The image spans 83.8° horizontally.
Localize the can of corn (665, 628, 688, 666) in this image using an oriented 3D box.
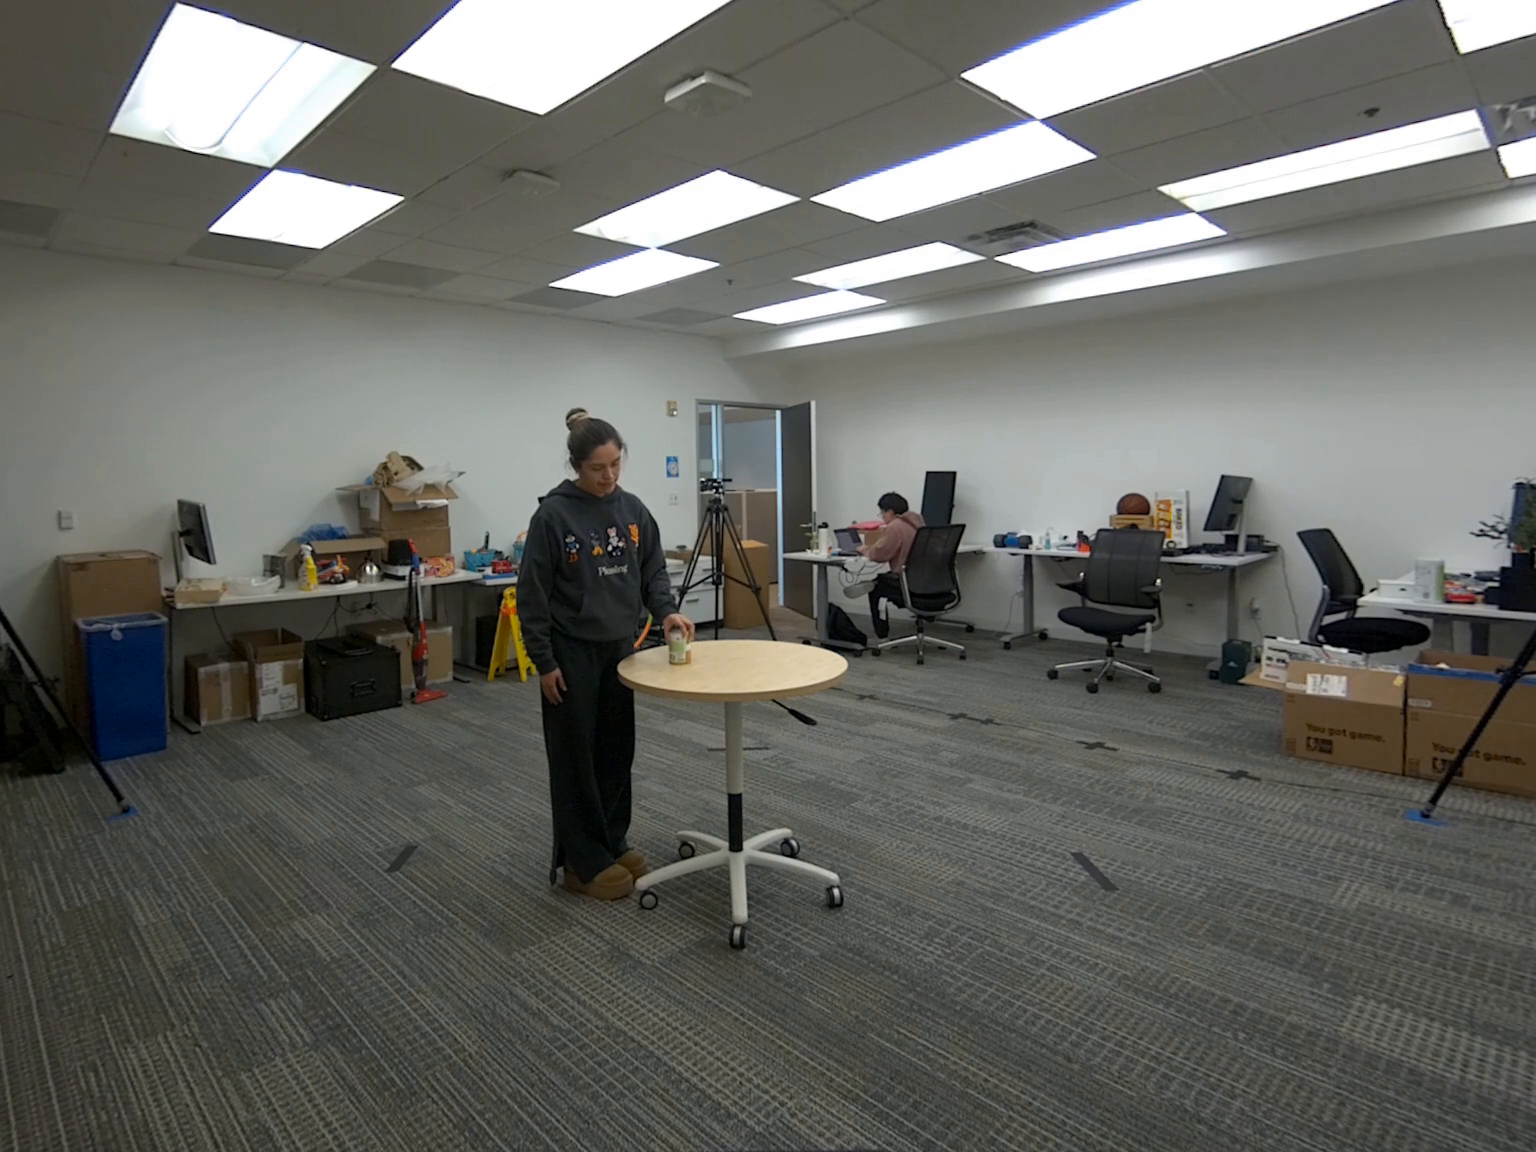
[{"bbox_3d":[-0.294,0.233,2.855,0.074,0.111,0.074,-4,-3,-2],"label":"can of corn"}]
